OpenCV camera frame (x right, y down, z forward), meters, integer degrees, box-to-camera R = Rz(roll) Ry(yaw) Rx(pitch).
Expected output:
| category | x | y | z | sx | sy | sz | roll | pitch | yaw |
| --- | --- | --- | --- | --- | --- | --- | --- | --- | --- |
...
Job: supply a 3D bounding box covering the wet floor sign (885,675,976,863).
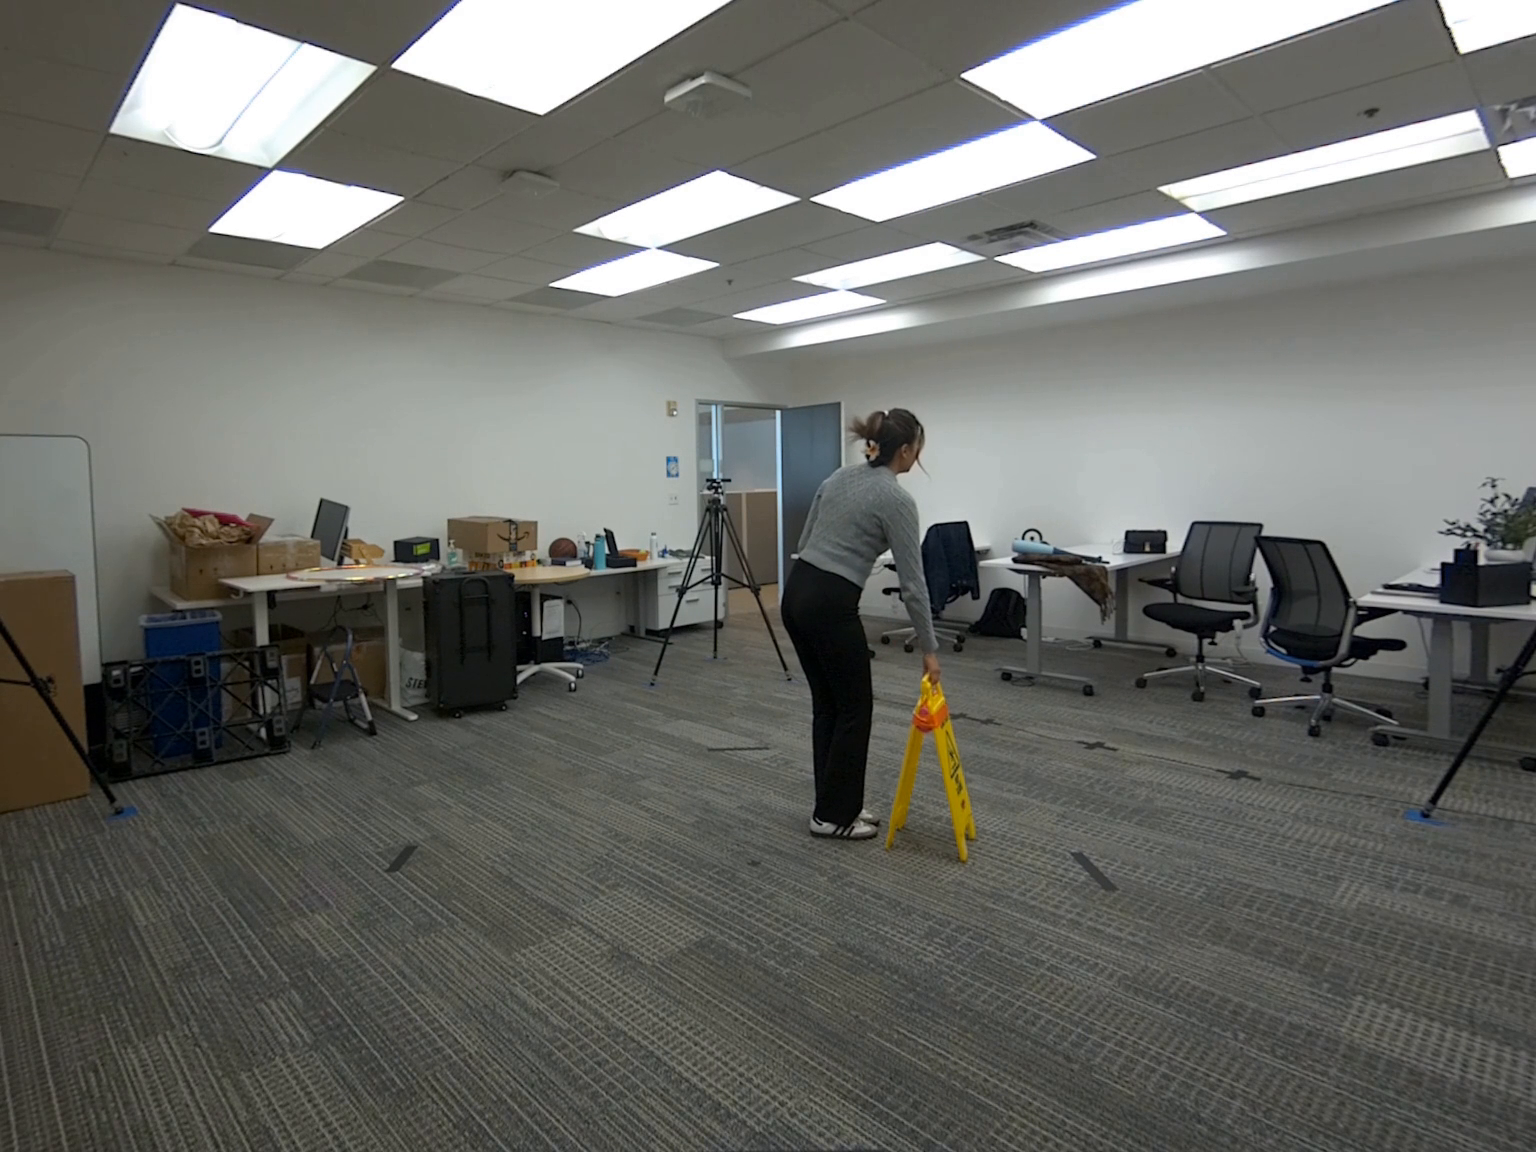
| category | x | y | z | sx | sy | sz | roll | pitch | yaw |
| --- | --- | --- | --- | --- | --- | --- | --- | --- | --- |
| wet floor sign | 0.622 | 0.690 | 3.240 | 0.296 | 0.643 | 0.277 | 1 | 6 | 24 |
